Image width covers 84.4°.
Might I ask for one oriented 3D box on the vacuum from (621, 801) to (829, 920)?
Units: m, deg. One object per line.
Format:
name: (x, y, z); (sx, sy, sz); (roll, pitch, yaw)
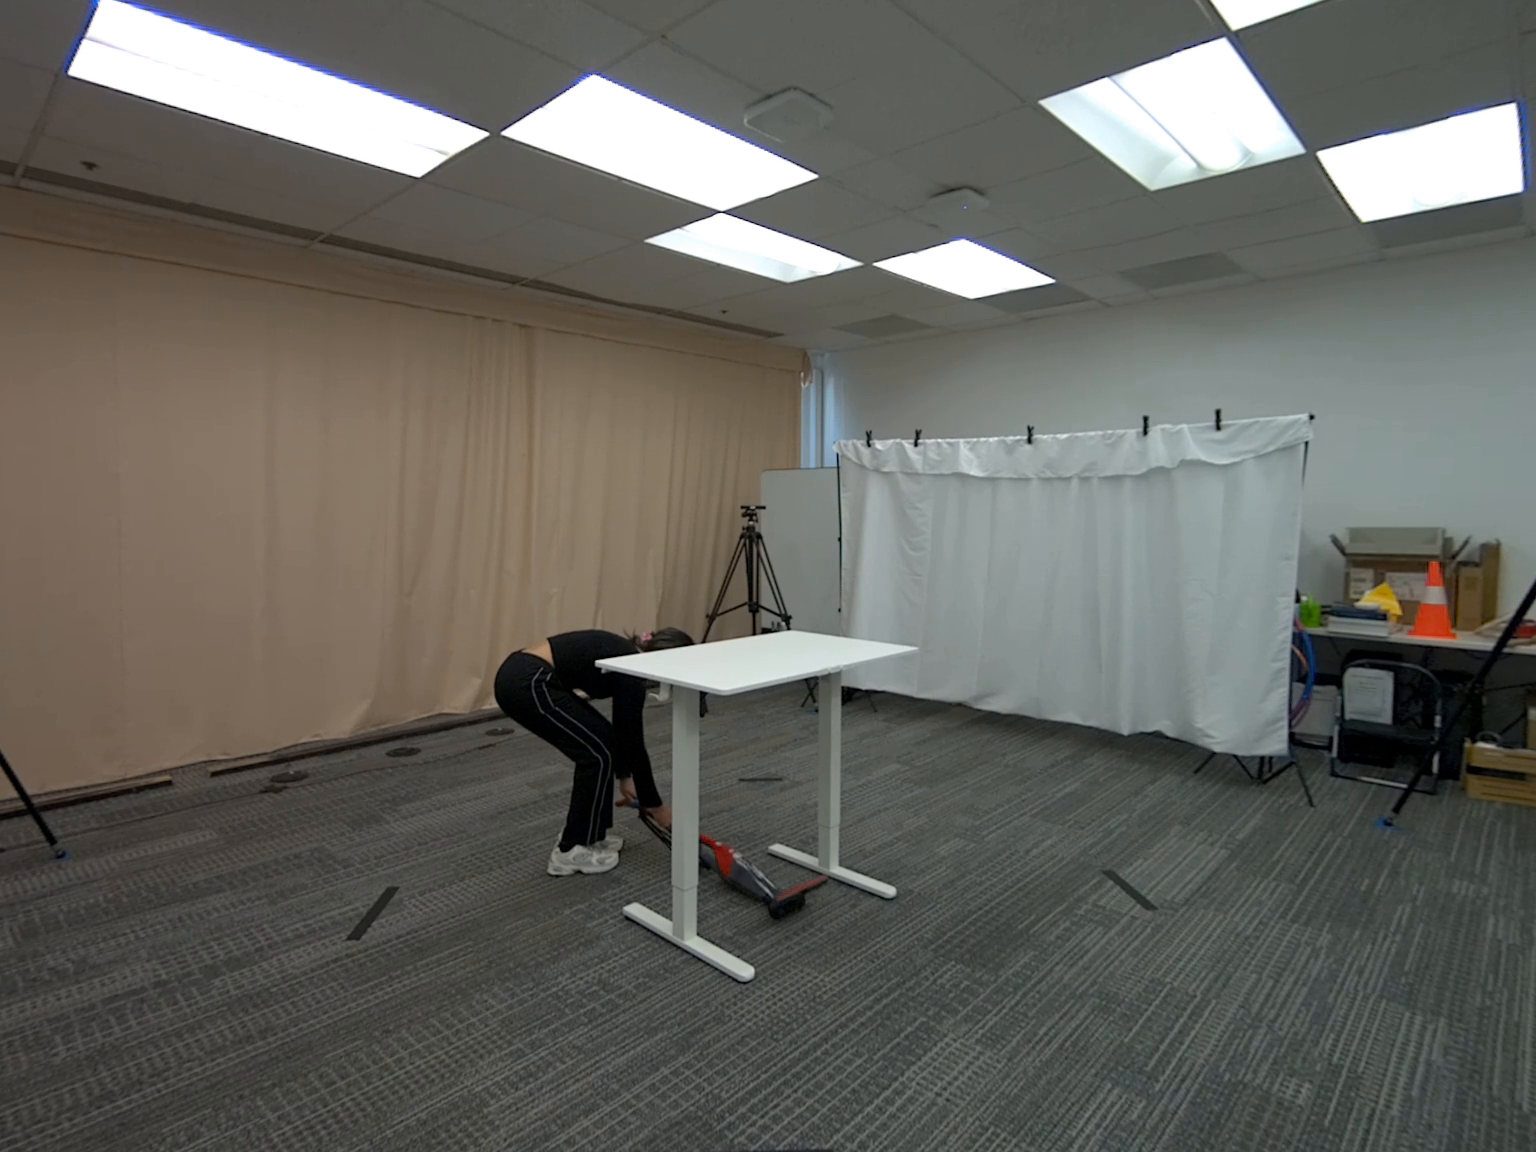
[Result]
vacuum: (-0.276, 1.043, 3.226); (0.245, 0.143, 1.086); (-10, 13, -42)
